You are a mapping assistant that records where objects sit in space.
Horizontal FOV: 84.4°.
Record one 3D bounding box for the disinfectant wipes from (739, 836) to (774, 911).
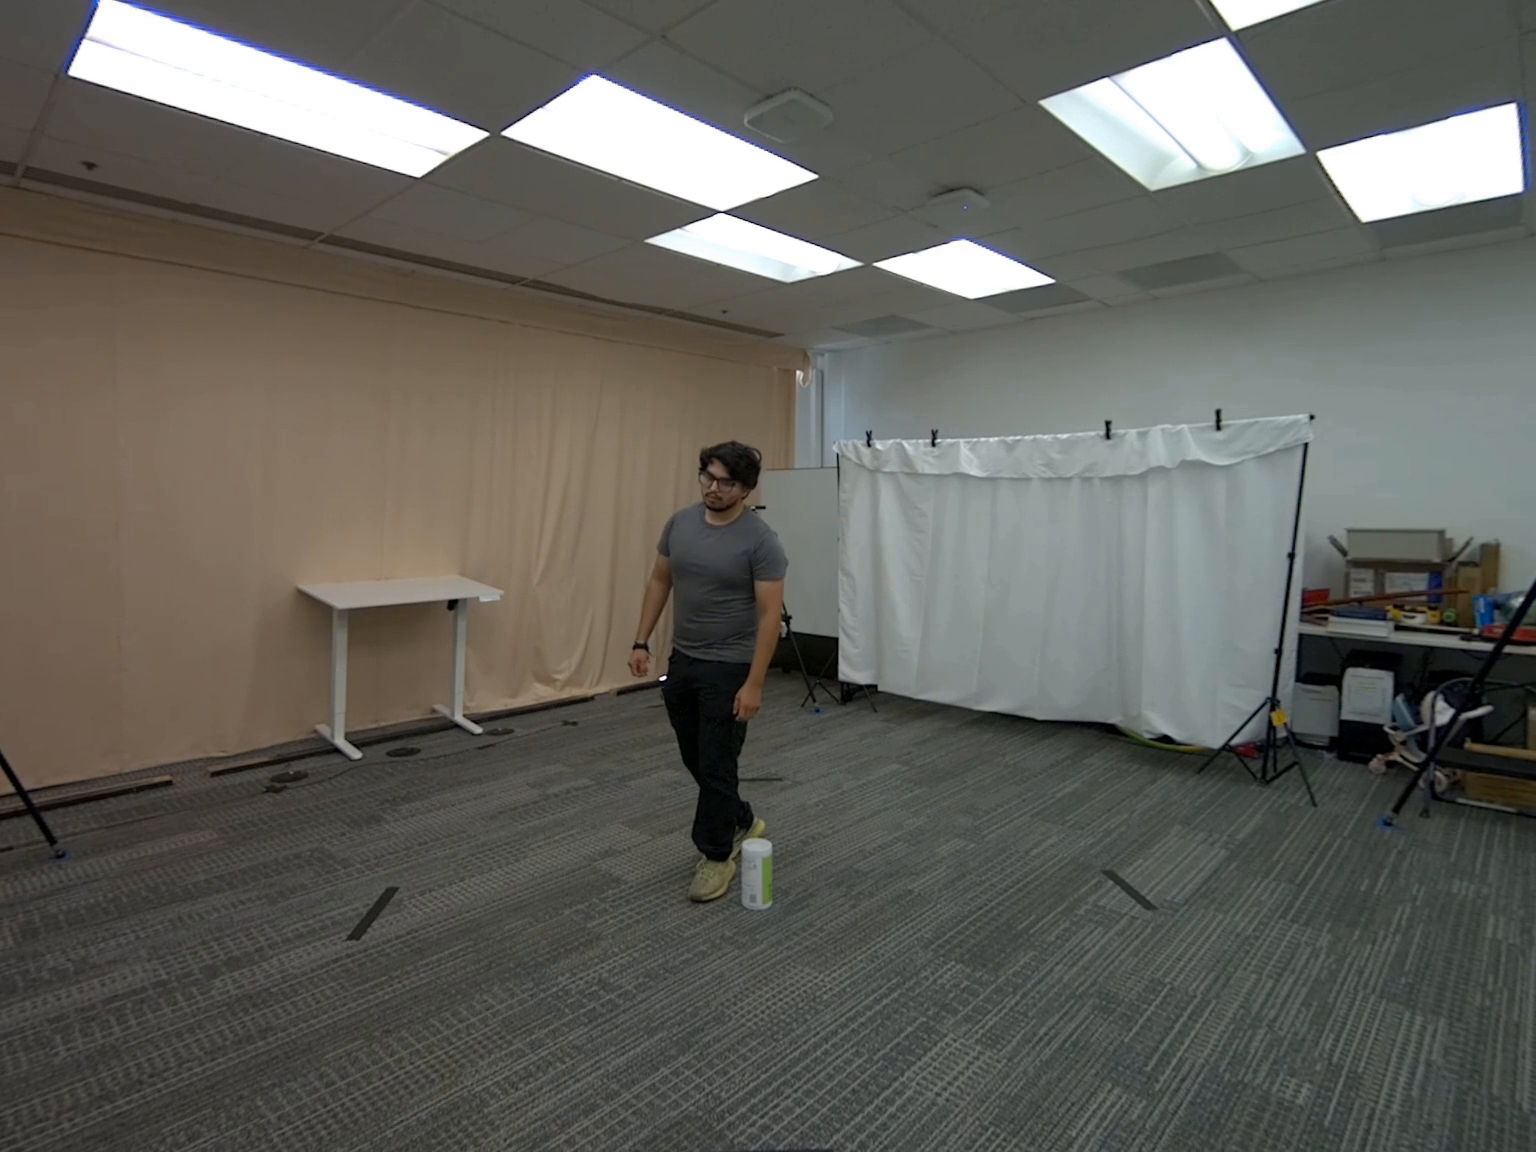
[{"bbox_3d":[-0.036,1.043,2.935,0.118,0.217,0.118,0,3,-2],"label":"disinfectant wipes"}]
